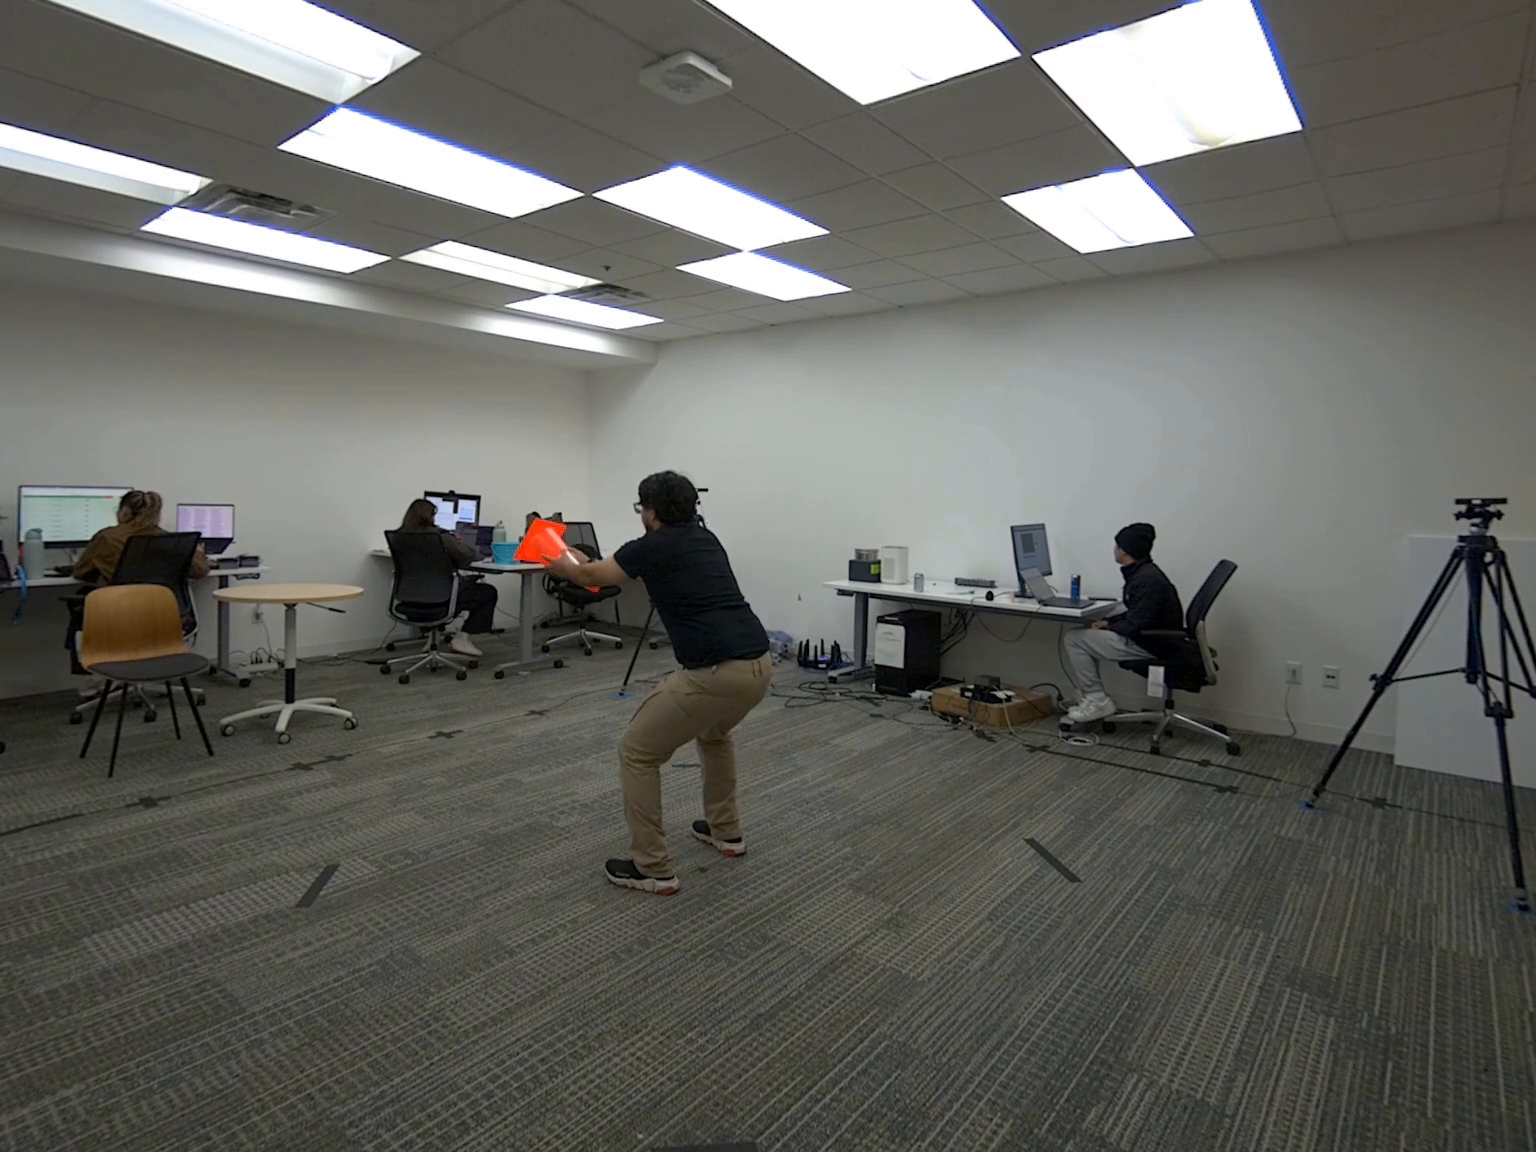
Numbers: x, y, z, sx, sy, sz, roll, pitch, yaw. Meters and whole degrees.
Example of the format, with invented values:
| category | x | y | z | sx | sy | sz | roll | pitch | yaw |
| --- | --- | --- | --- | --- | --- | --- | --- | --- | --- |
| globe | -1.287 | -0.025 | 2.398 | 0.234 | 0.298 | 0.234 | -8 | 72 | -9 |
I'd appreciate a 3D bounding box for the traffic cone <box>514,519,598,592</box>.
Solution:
| category | x | y | z | sx | sy | sz | roll | pitch | yaw |
| --- | --- | --- | --- | --- | --- | --- | --- | --- | --- |
| traffic cone | -0.840 | -0.050 | 3.515 | 0.398 | 0.203 | 0.198 | 32 | 8 | 30 |
